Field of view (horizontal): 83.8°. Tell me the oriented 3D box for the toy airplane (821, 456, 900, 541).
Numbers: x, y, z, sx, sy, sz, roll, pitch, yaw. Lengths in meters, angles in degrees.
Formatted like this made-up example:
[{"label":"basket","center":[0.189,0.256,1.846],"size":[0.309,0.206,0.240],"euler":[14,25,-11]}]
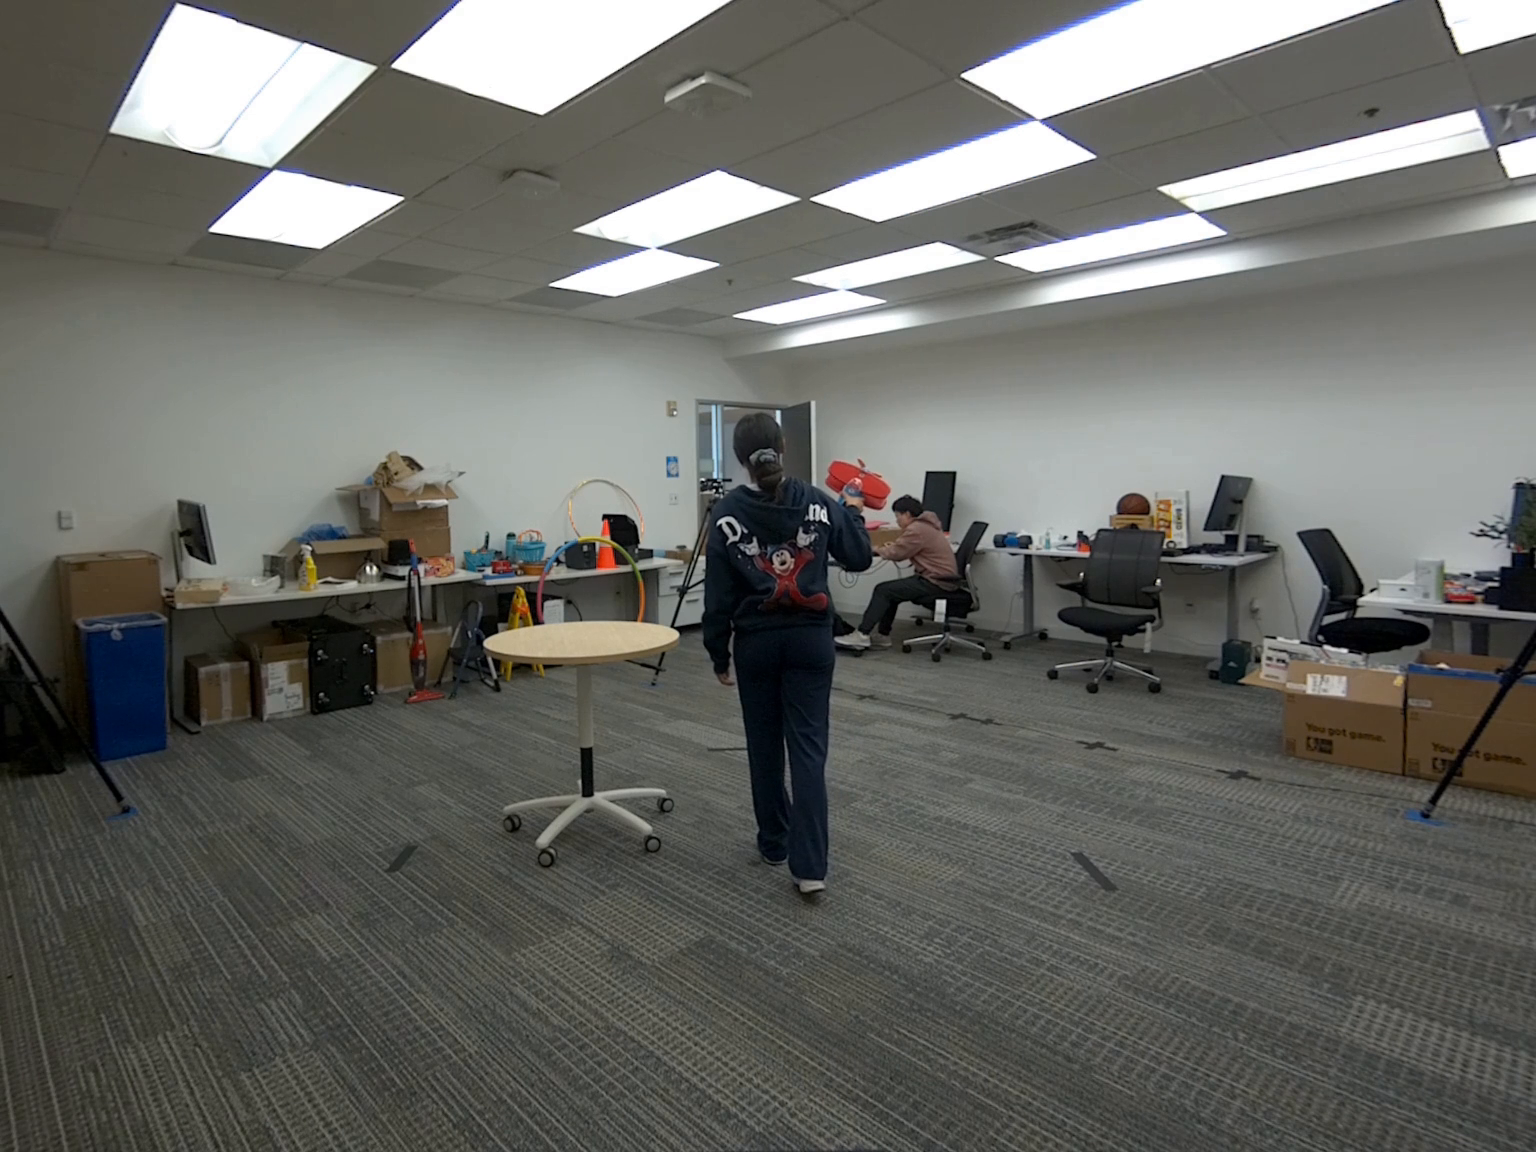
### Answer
[{"label":"toy airplane","center":[0.351,-0.305,3.328],"size":[0.250,0.153,0.266],"euler":[8,47,-6]}]
